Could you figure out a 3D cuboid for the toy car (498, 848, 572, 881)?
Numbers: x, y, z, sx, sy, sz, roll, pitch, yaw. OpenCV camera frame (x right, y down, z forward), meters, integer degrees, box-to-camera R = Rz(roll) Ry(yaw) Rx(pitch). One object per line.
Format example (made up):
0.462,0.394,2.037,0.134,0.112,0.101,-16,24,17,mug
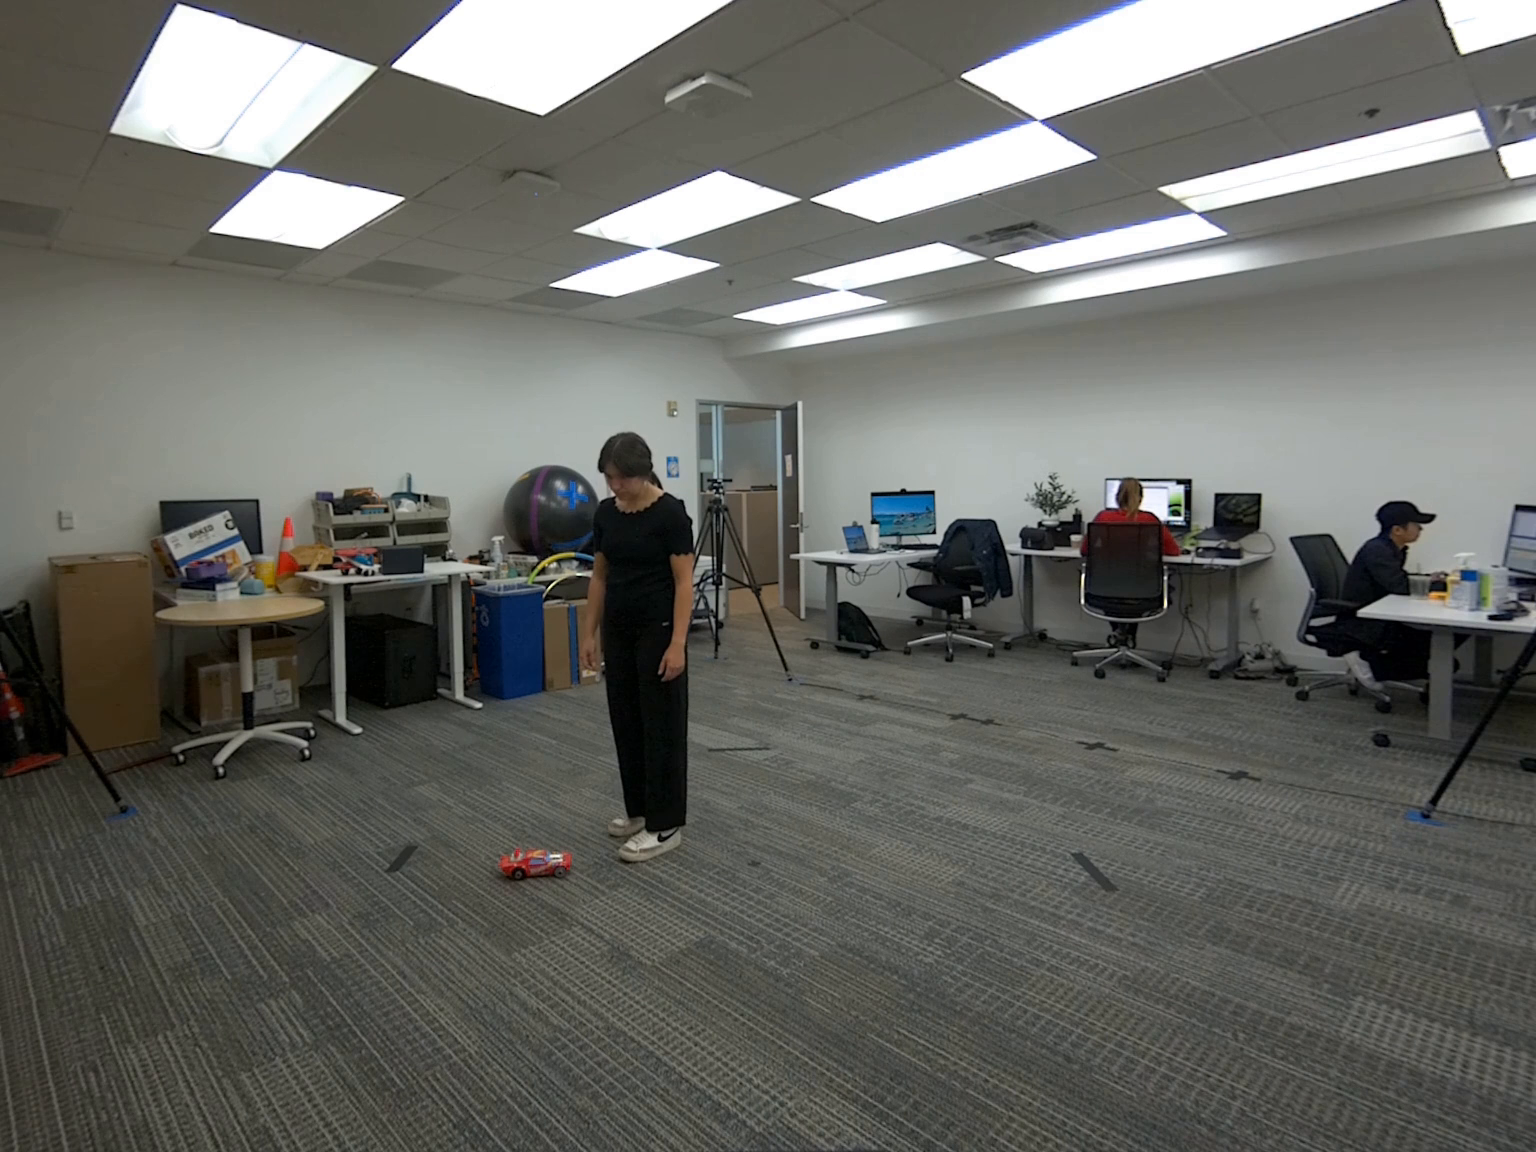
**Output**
-0.840,1.035,3.062,0.253,0.083,0.131,9,4,-6,toy car
